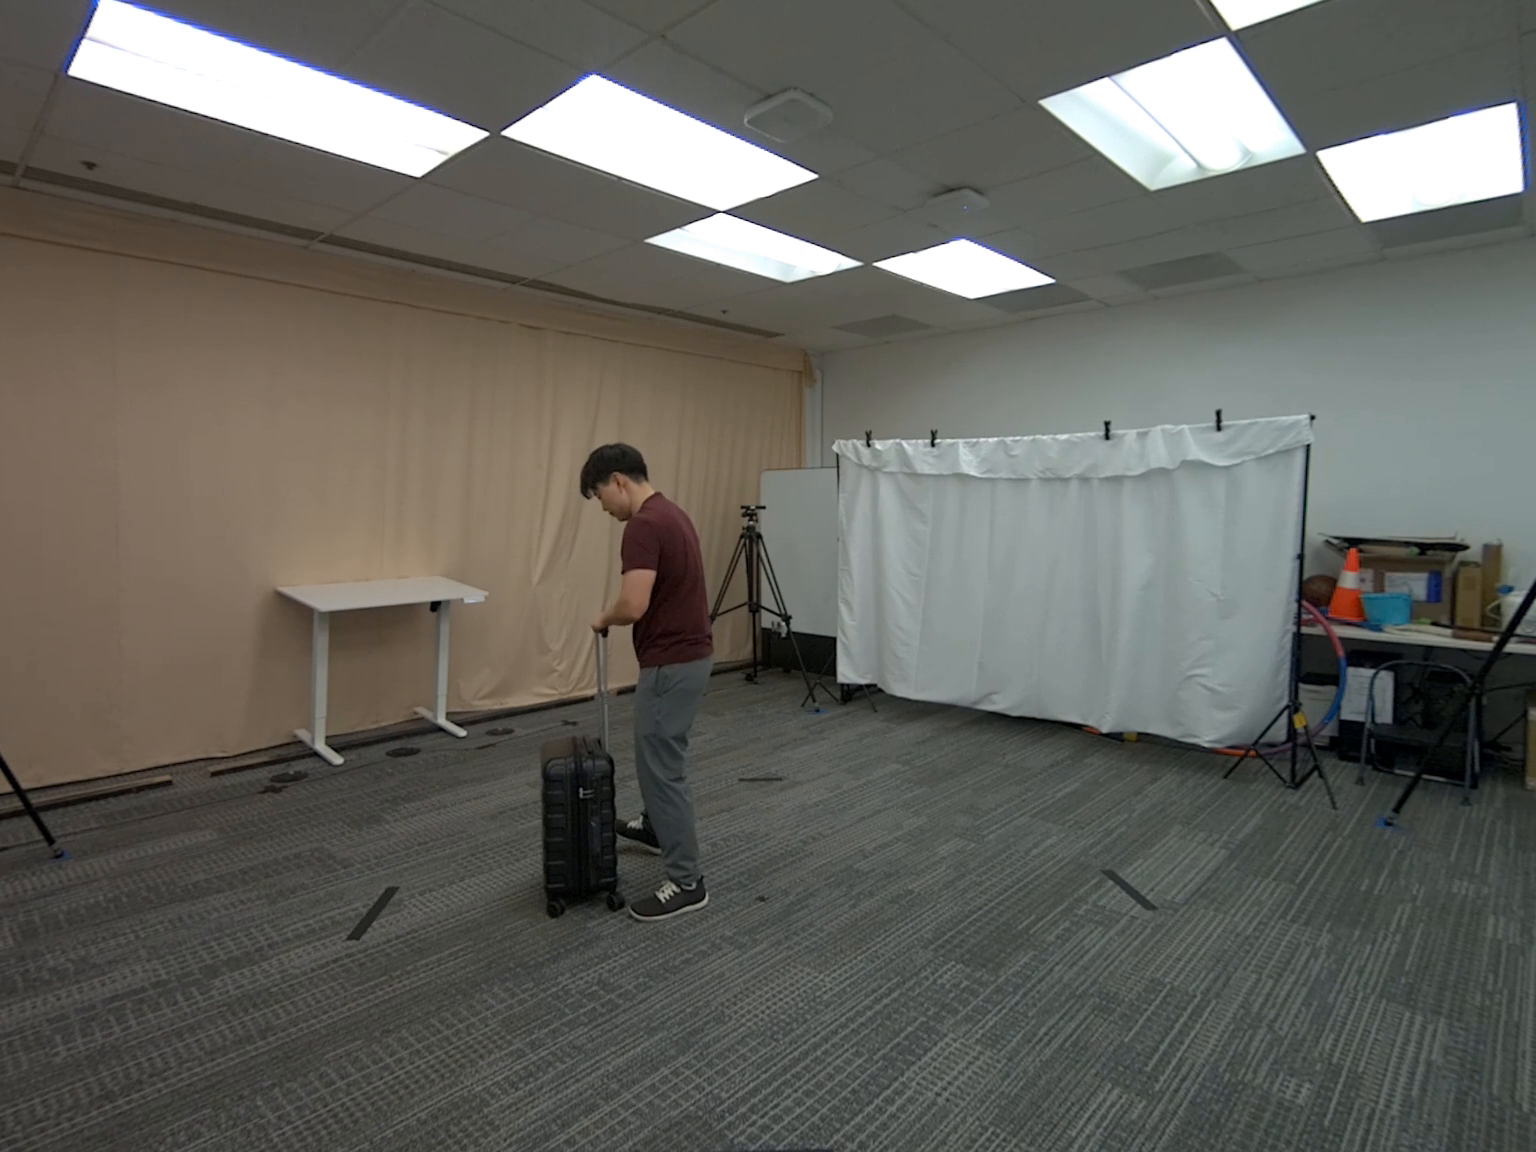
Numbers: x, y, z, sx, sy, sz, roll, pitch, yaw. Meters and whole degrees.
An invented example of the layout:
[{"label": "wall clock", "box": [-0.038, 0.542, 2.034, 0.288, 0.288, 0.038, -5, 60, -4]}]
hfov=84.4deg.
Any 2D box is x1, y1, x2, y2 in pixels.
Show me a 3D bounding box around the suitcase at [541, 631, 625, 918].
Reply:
[{"label": "suitcase", "box": [-0.698, 0.675, 3.024, 0.254, 0.976, 0.390, -3, 3, -13]}]
